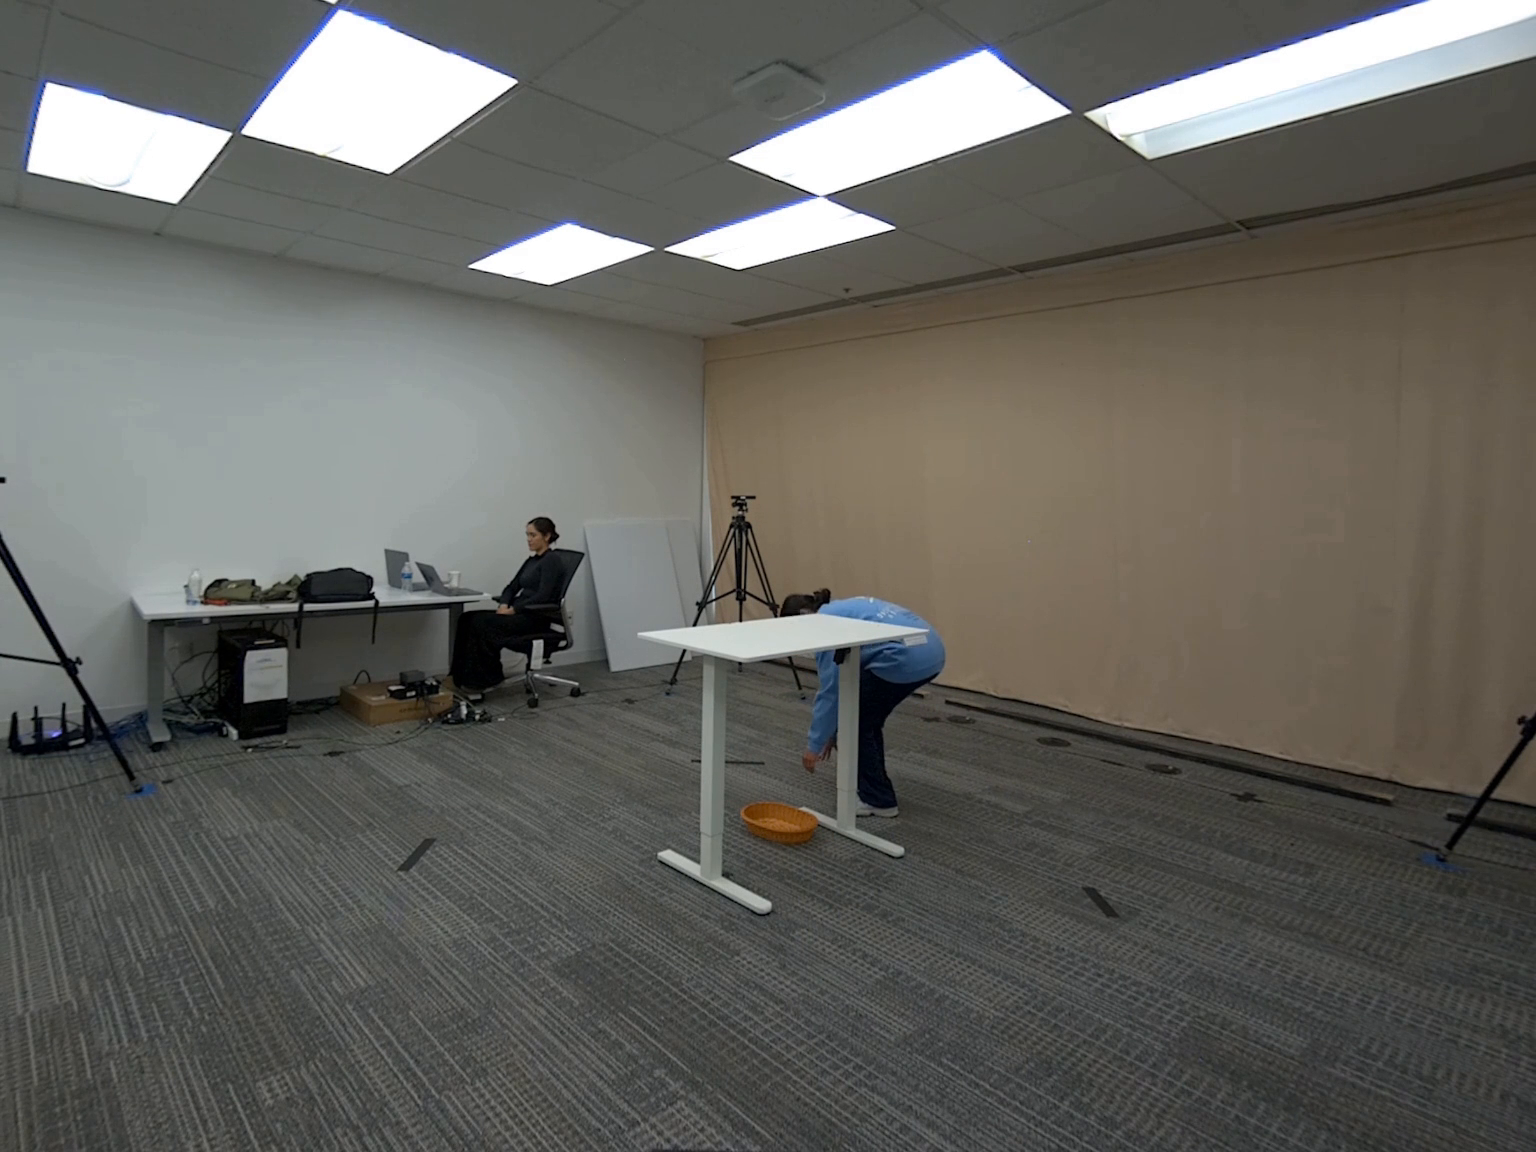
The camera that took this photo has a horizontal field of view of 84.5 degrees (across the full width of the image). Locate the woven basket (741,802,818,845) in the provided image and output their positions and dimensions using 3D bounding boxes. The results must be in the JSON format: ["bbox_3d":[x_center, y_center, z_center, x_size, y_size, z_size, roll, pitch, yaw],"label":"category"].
[{"bbox_3d":[0.037,1.030,3.512,0.359,0.073,0.247,6,8,41],"label":"woven basket"}]
